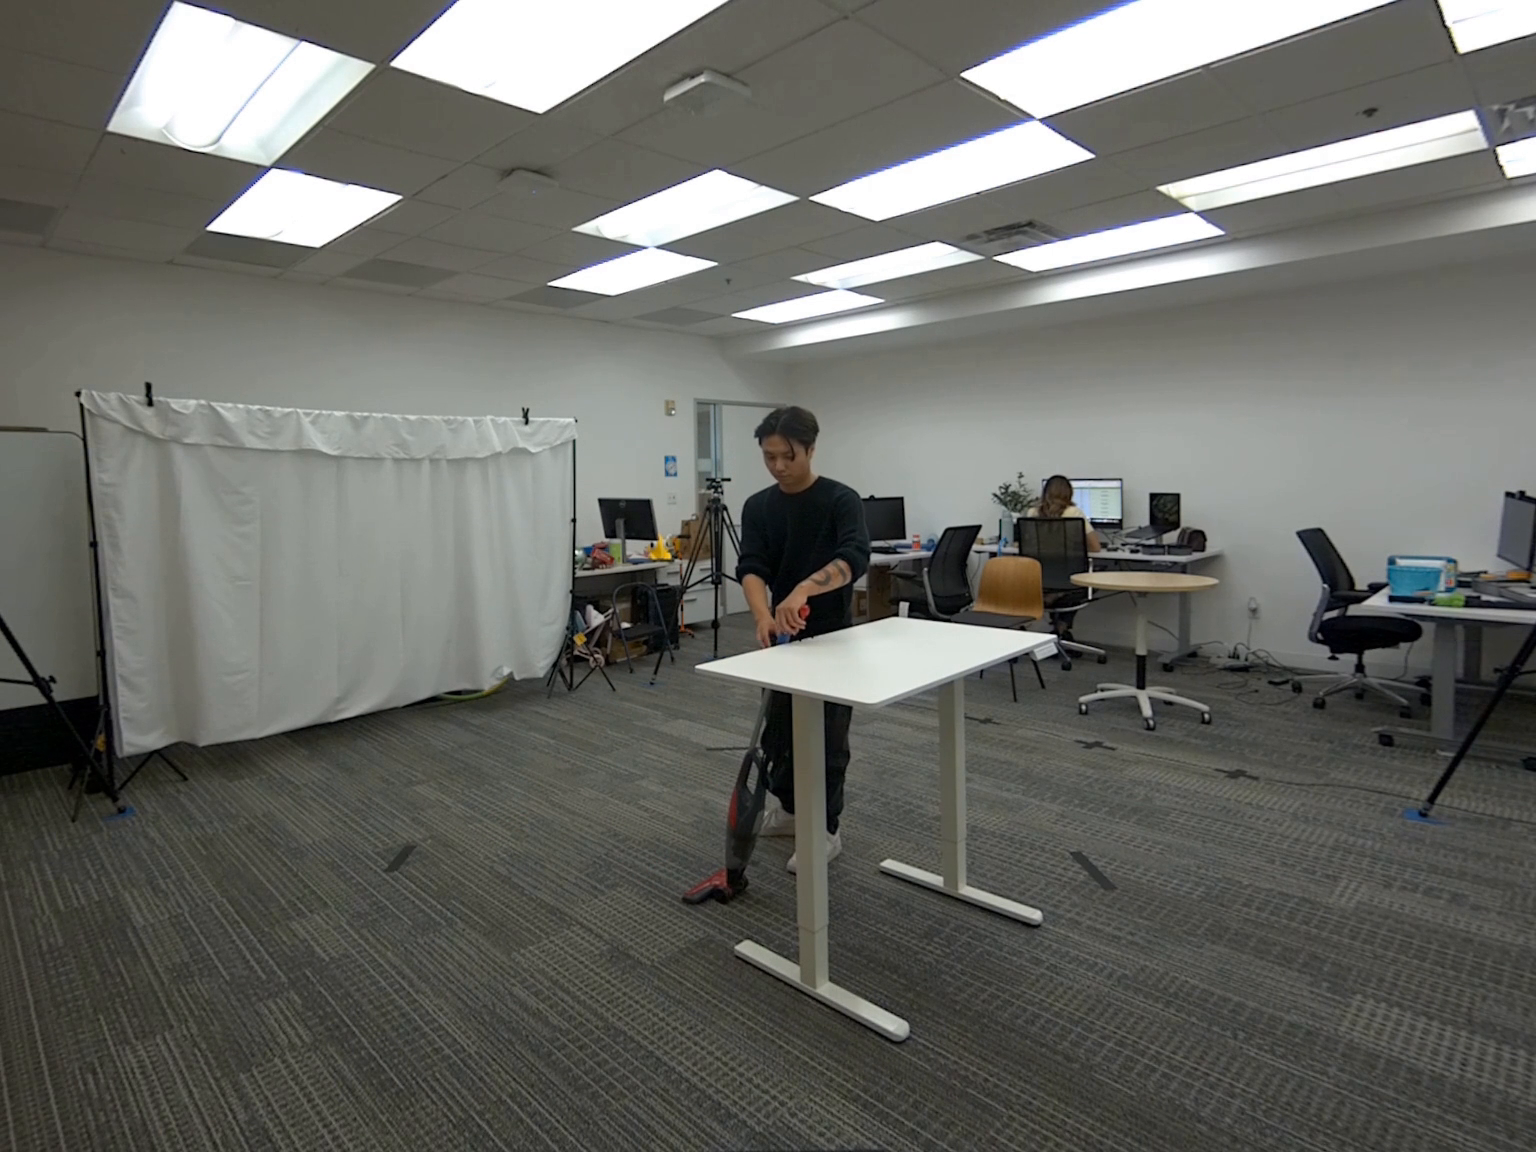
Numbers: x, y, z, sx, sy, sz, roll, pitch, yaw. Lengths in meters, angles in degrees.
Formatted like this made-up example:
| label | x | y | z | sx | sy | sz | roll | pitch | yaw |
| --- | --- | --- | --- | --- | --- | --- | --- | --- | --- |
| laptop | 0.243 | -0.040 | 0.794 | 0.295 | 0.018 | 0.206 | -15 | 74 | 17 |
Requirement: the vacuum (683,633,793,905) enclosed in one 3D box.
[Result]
| label | x | y | z | sx | sy | sz | roll | pitch | yaw |
| --- | --- | --- | --- | --- | --- | --- | --- | --- | --- |
| vacuum | -0.027 | 0.592 | 2.761 | 0.149 | 1.040 | 0.246 | 24 | 17 | 29 |
